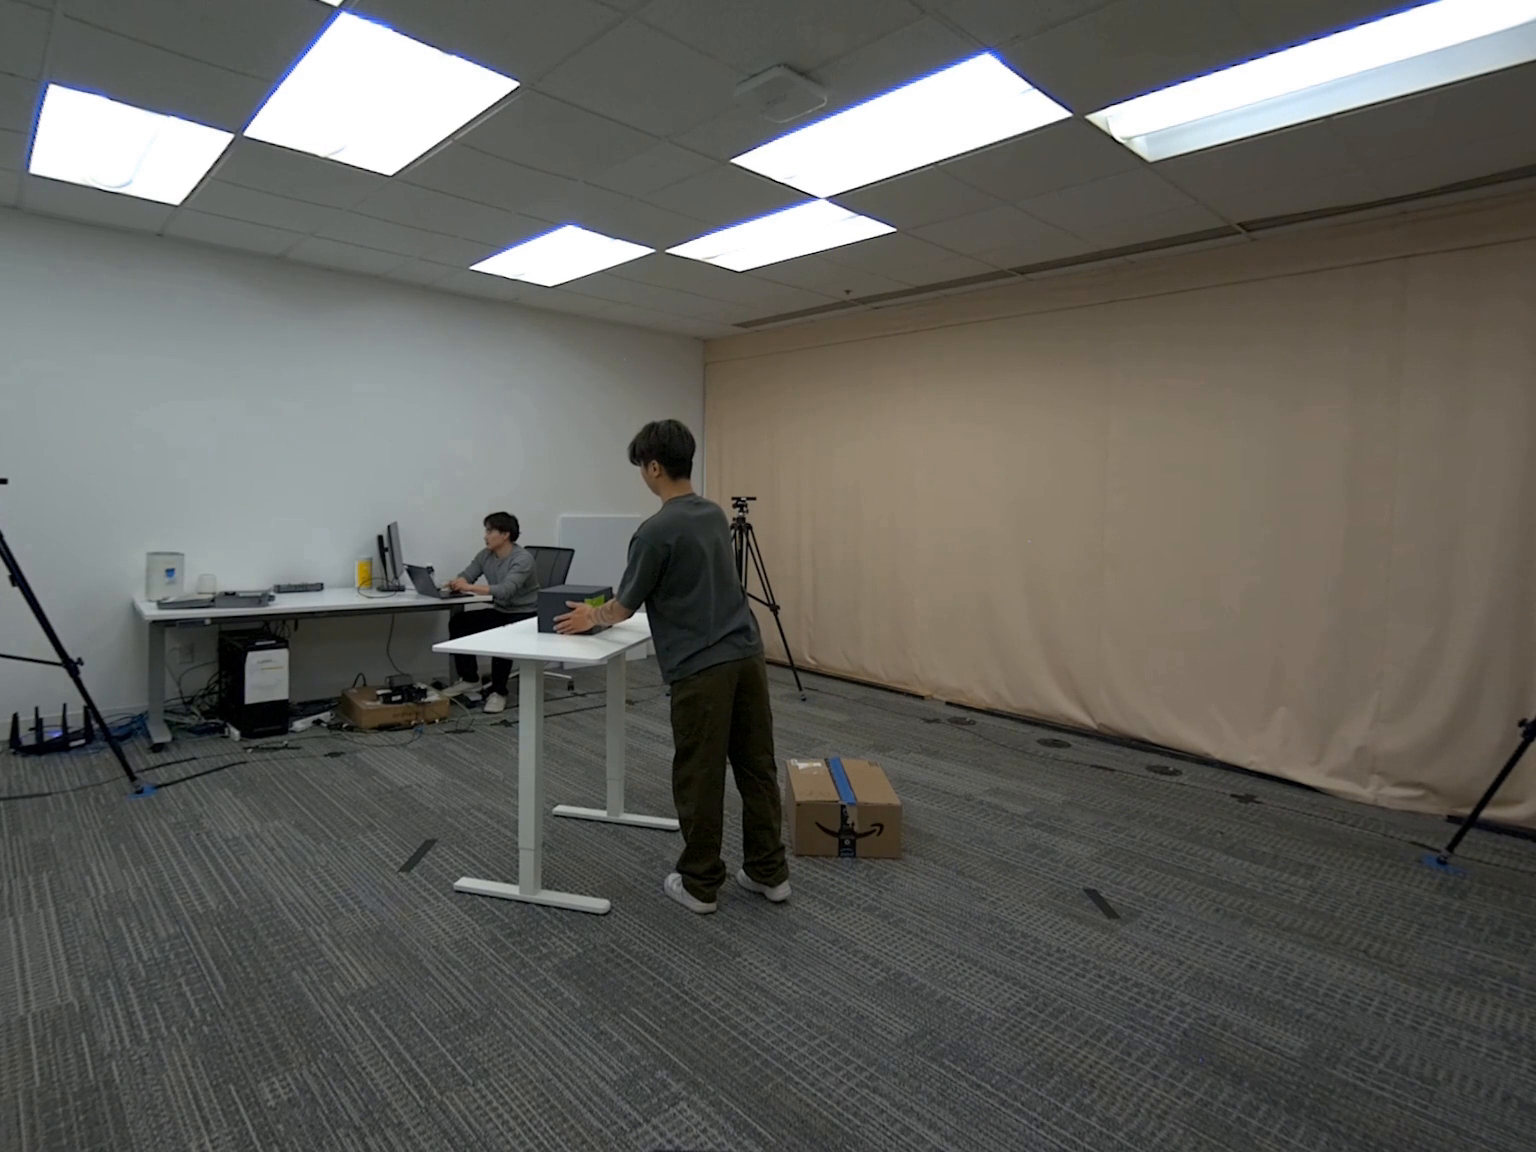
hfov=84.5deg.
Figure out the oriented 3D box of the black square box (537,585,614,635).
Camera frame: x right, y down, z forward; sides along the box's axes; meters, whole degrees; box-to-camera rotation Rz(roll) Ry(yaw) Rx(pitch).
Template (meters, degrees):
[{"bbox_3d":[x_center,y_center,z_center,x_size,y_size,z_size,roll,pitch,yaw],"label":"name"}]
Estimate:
[{"bbox_3d":[-0.734,0.118,3.185,0.219,0.155,0.226,2,5,11],"label":"black square box"}]
